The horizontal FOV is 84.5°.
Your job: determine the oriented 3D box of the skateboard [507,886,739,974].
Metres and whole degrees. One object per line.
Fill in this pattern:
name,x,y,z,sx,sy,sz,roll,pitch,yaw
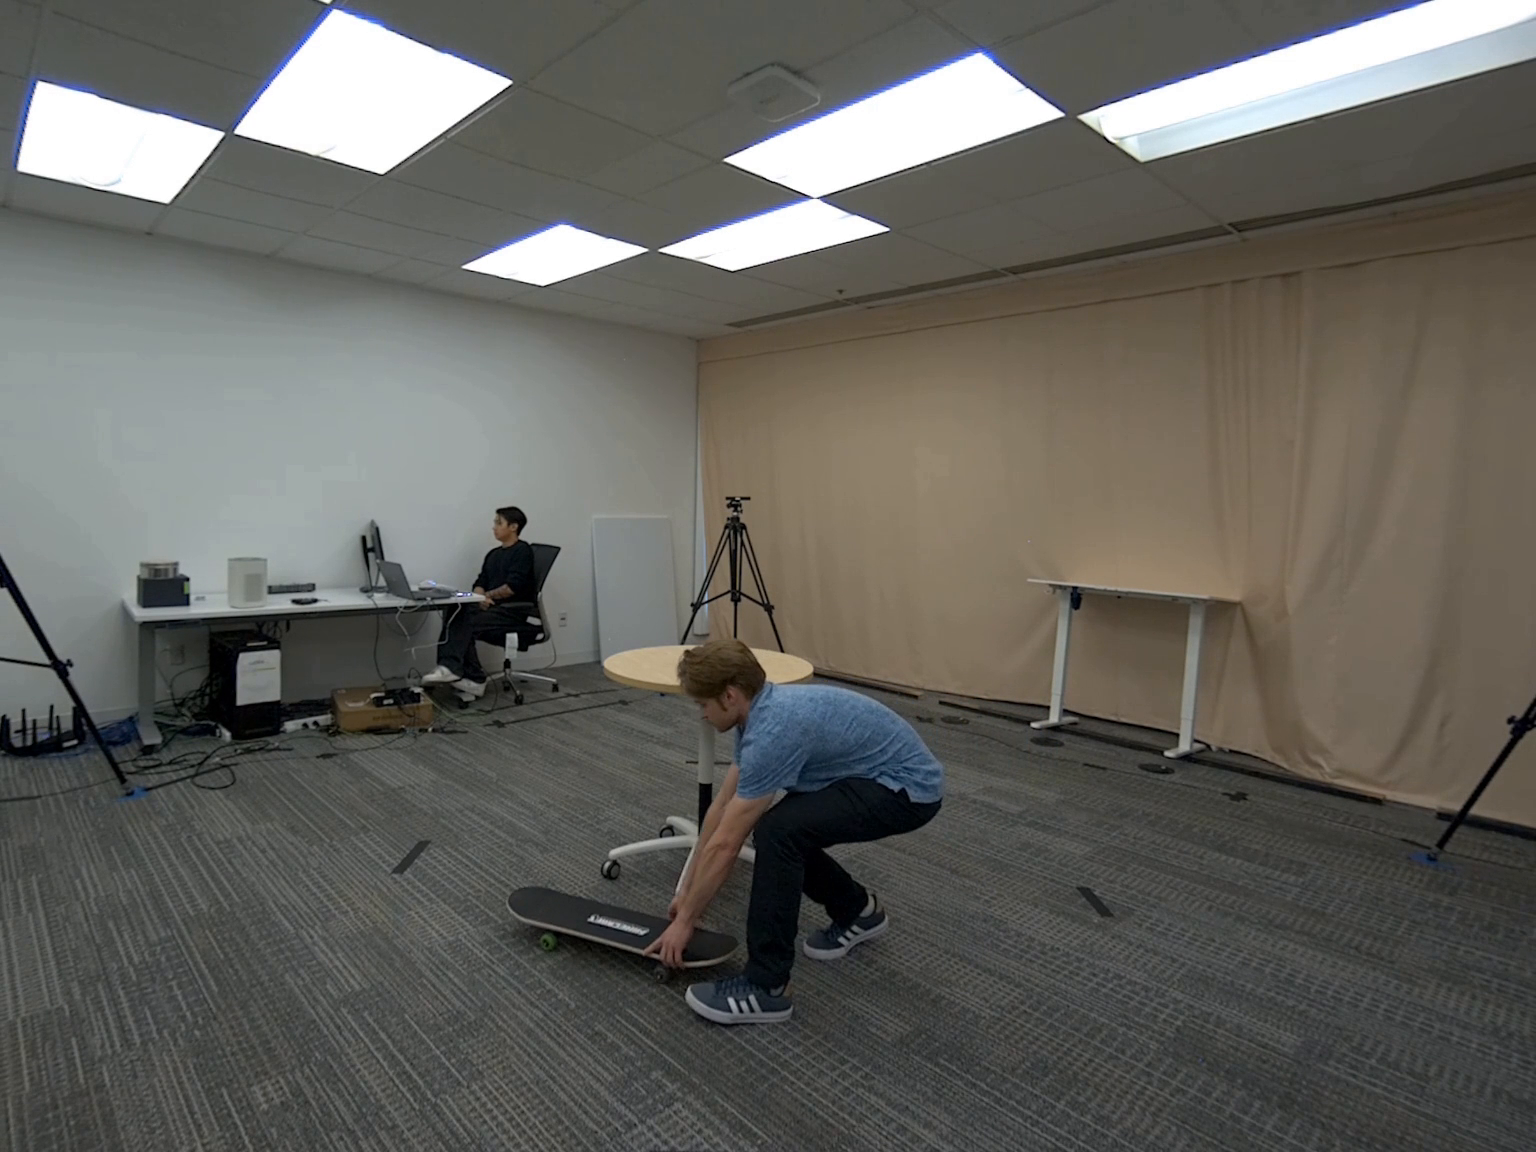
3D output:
skateboard,-0.461,1.095,2.558,0.799,0.110,0.190,3,5,23
